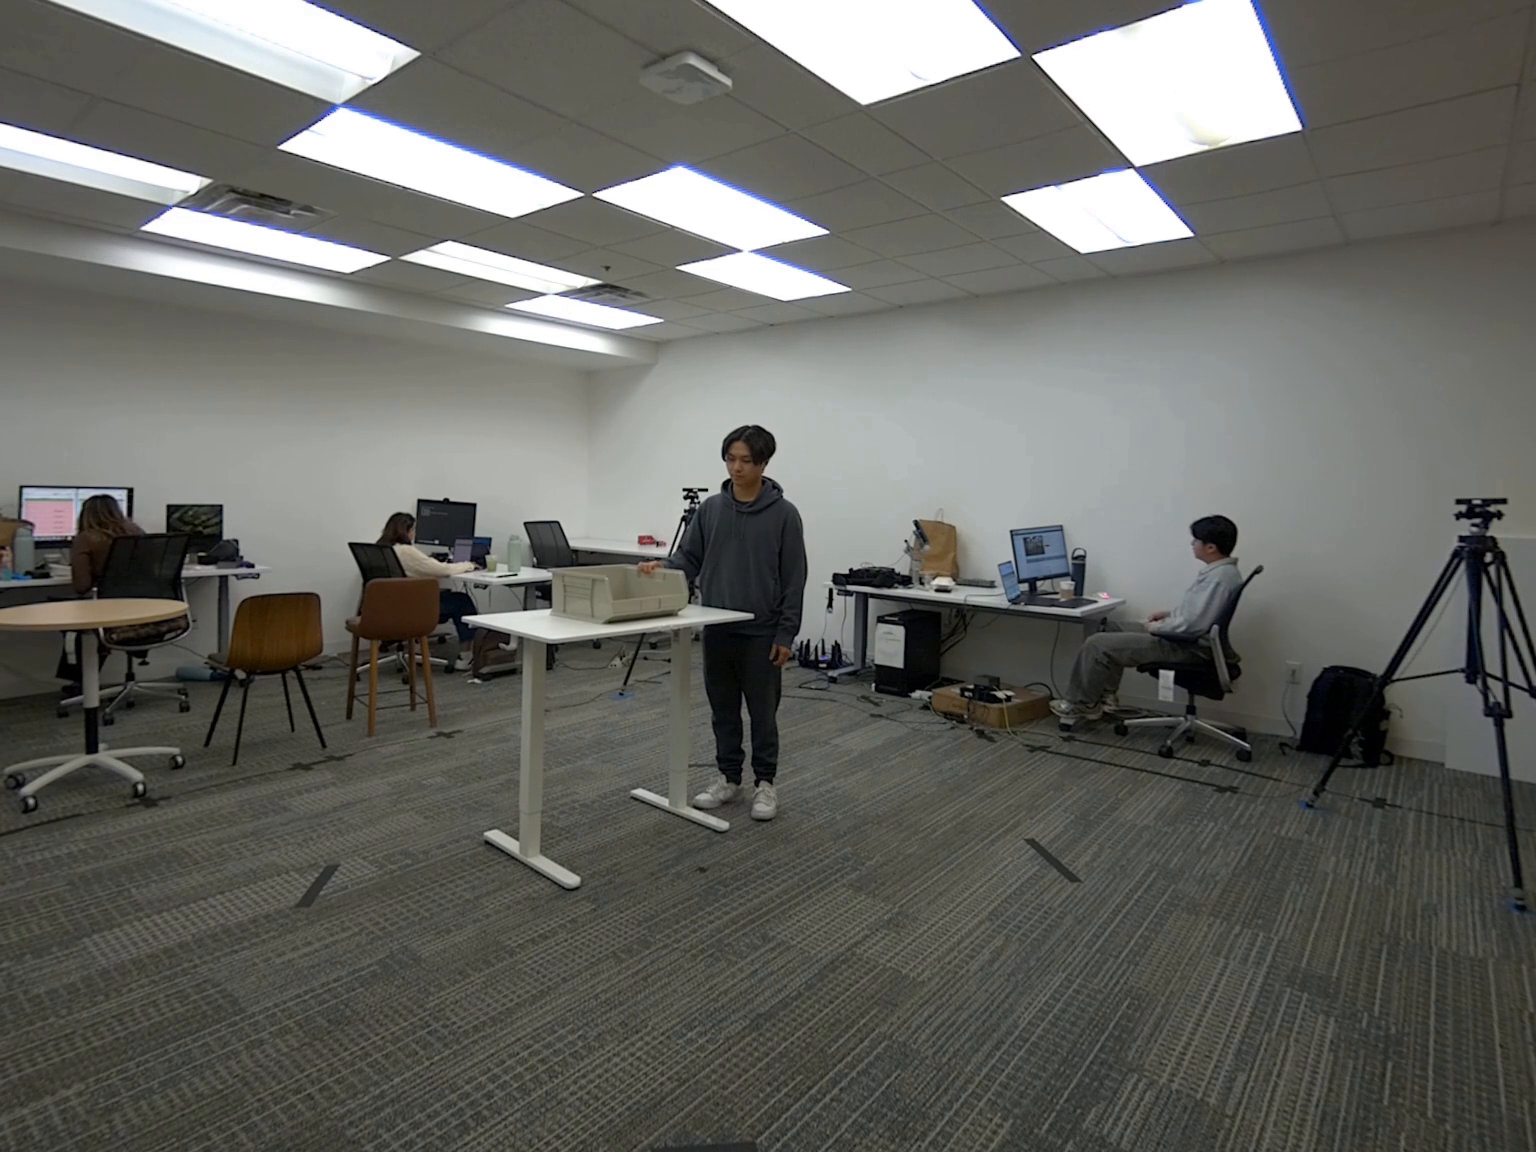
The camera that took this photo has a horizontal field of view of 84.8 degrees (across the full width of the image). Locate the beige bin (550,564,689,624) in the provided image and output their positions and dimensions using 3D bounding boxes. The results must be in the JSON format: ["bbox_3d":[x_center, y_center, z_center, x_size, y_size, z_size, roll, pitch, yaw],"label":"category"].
[{"bbox_3d":[-0.602,0.065,3.375,0.390,0.188,0.410,5,6,39],"label":"beige bin"}]
